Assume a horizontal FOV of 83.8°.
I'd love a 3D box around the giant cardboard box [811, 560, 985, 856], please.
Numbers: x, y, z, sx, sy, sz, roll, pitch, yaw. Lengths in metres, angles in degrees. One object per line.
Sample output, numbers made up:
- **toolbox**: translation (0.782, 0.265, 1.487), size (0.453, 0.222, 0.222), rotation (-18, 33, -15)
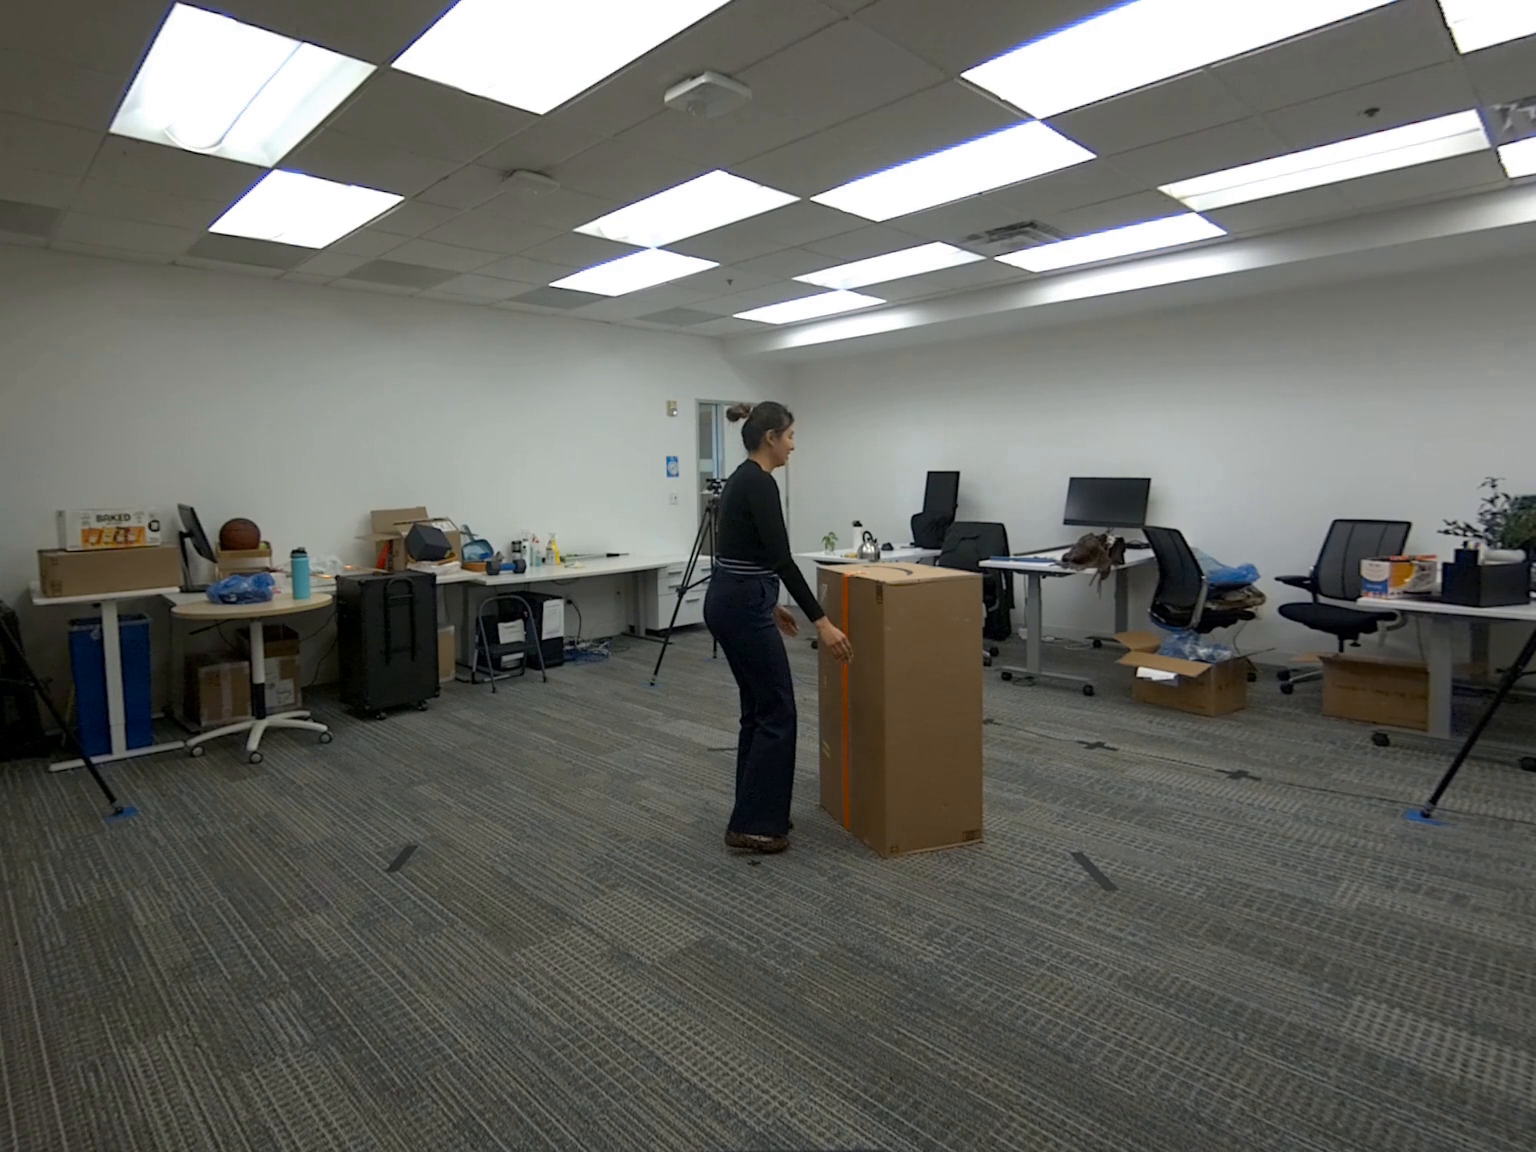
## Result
- **giant cardboard box**: translation (0.508, 0.489, 3.416), size (0.419, 1.022, 0.589), rotation (-2, 4, -20)
